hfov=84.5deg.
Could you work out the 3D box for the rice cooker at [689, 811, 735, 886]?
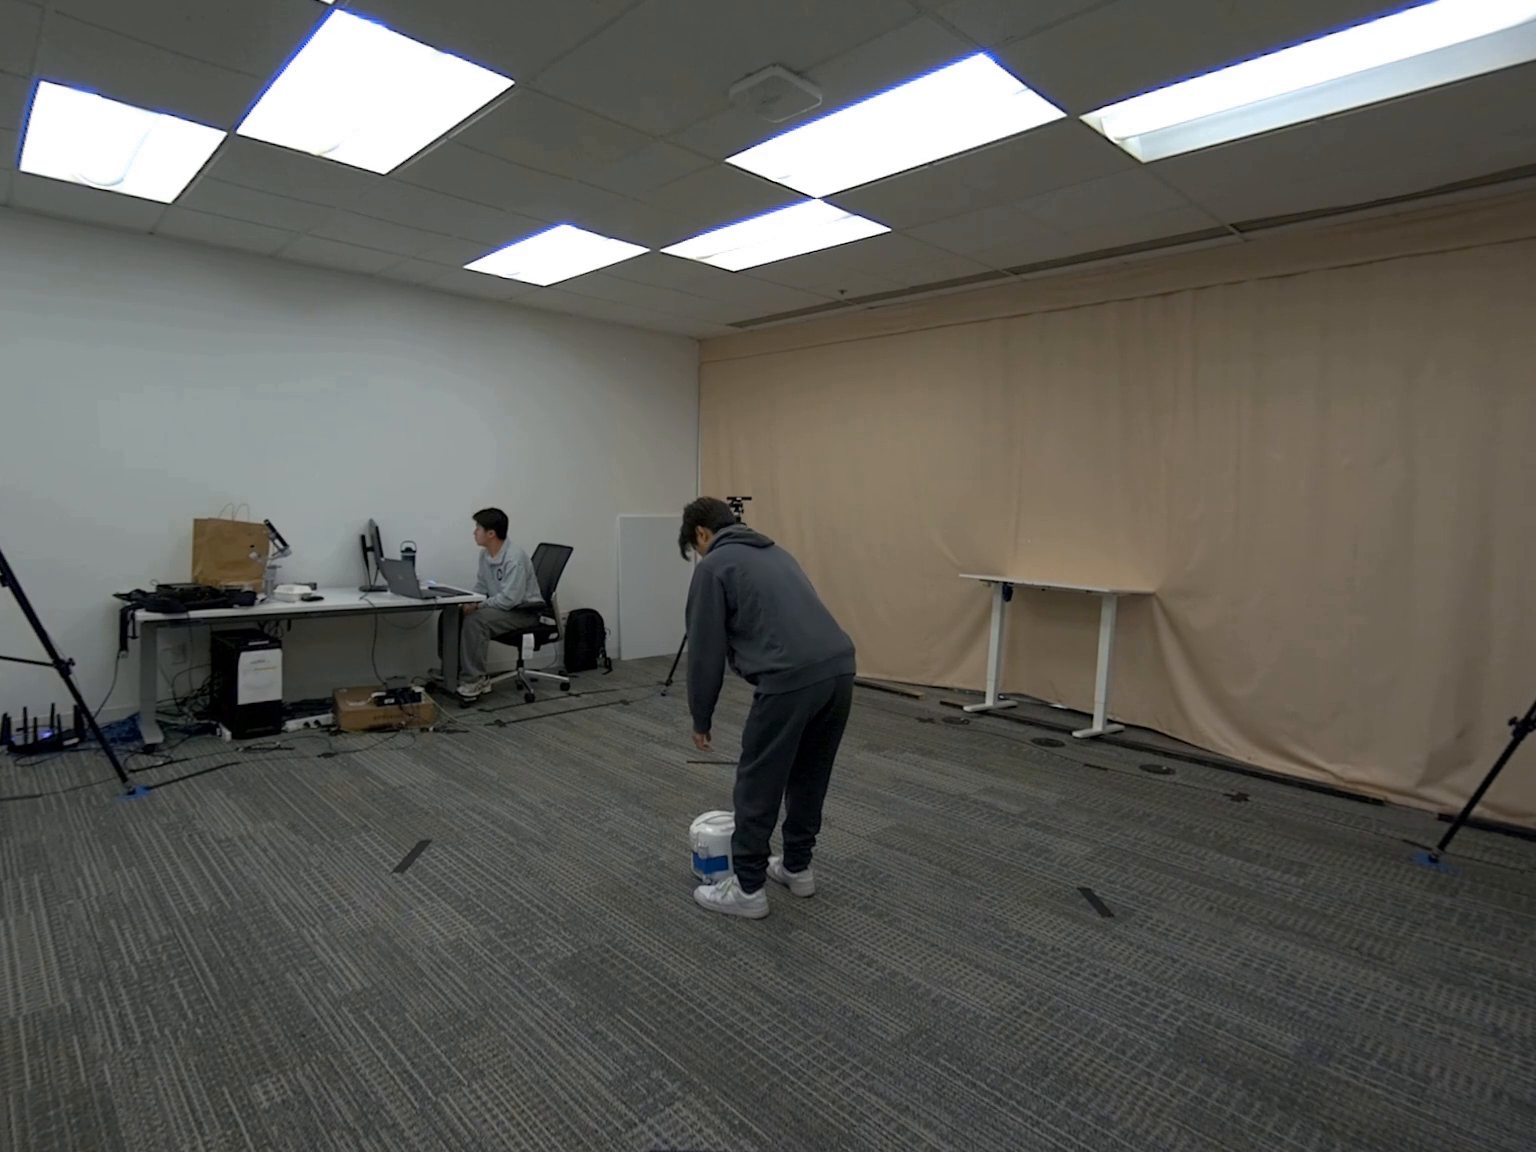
[{"bbox_3d":[-0.191,0.987,3.110,0.217,0.232,0.222,0,5,-22],"label":"rice cooker"}]
